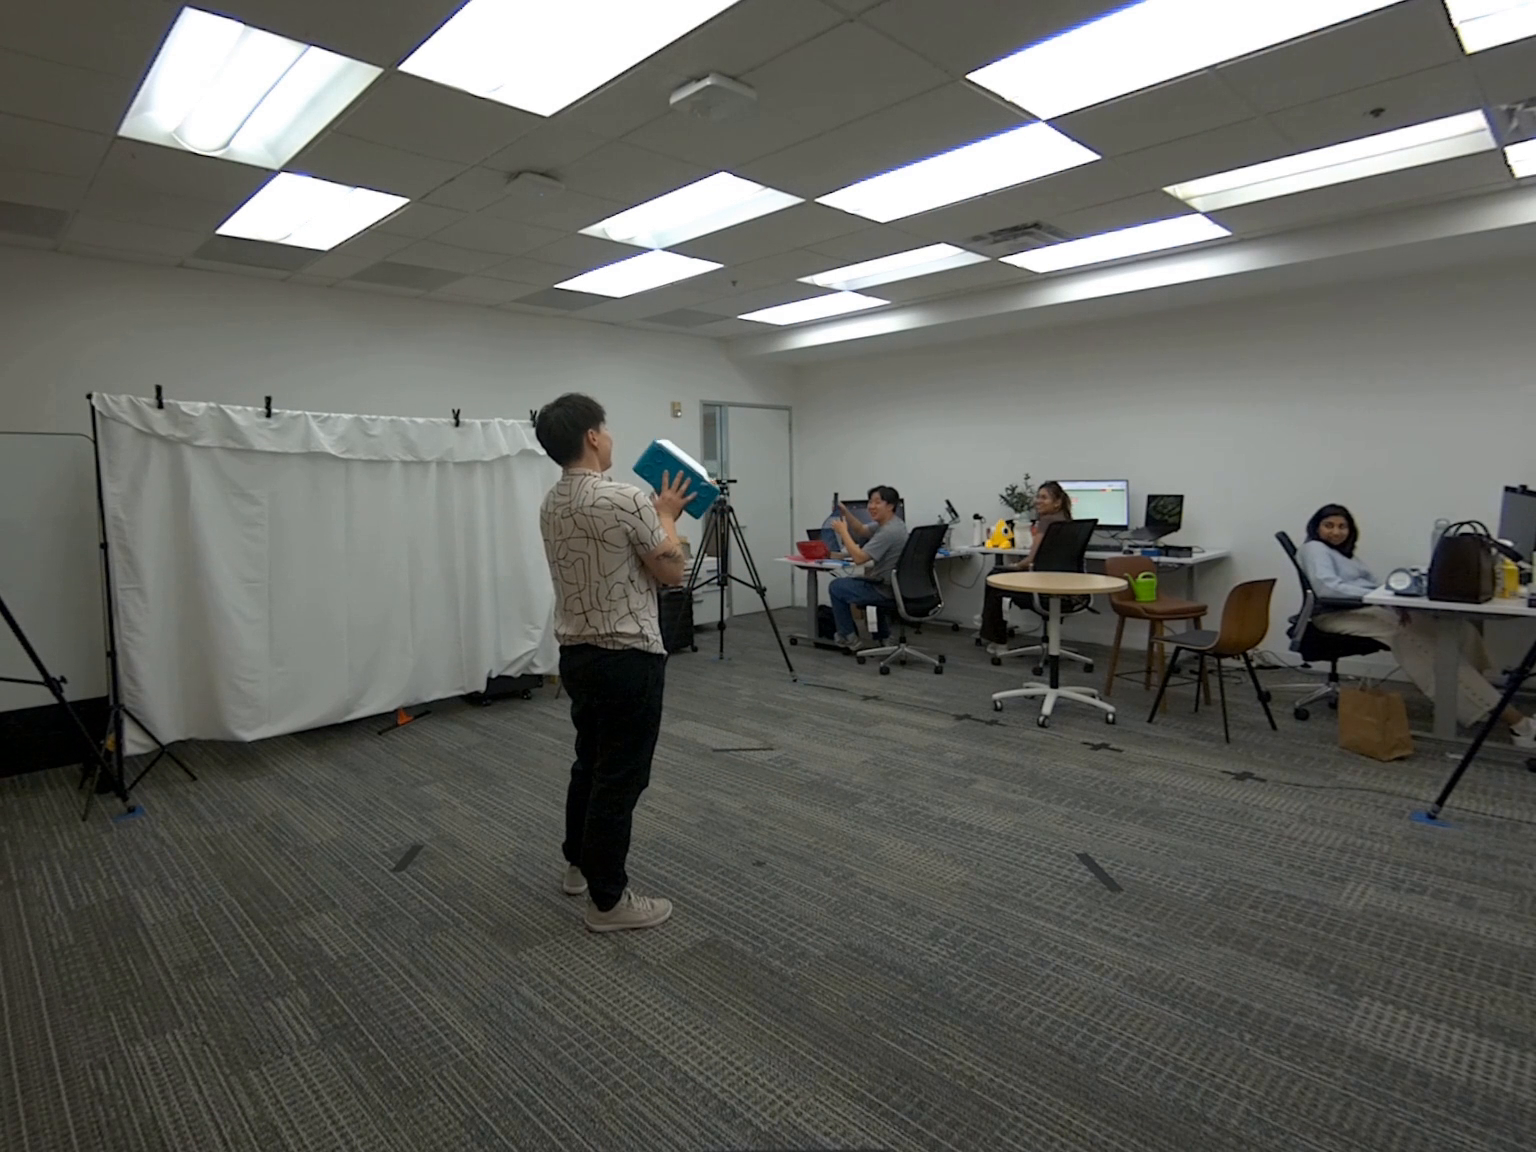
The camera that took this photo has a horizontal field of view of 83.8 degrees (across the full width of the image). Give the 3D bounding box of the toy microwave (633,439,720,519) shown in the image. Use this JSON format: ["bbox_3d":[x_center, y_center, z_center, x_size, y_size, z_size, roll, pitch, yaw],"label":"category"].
[{"bbox_3d":[-0.302,-0.338,2.898,0.284,0.152,0.185,38,5,-6],"label":"toy microwave"}]
